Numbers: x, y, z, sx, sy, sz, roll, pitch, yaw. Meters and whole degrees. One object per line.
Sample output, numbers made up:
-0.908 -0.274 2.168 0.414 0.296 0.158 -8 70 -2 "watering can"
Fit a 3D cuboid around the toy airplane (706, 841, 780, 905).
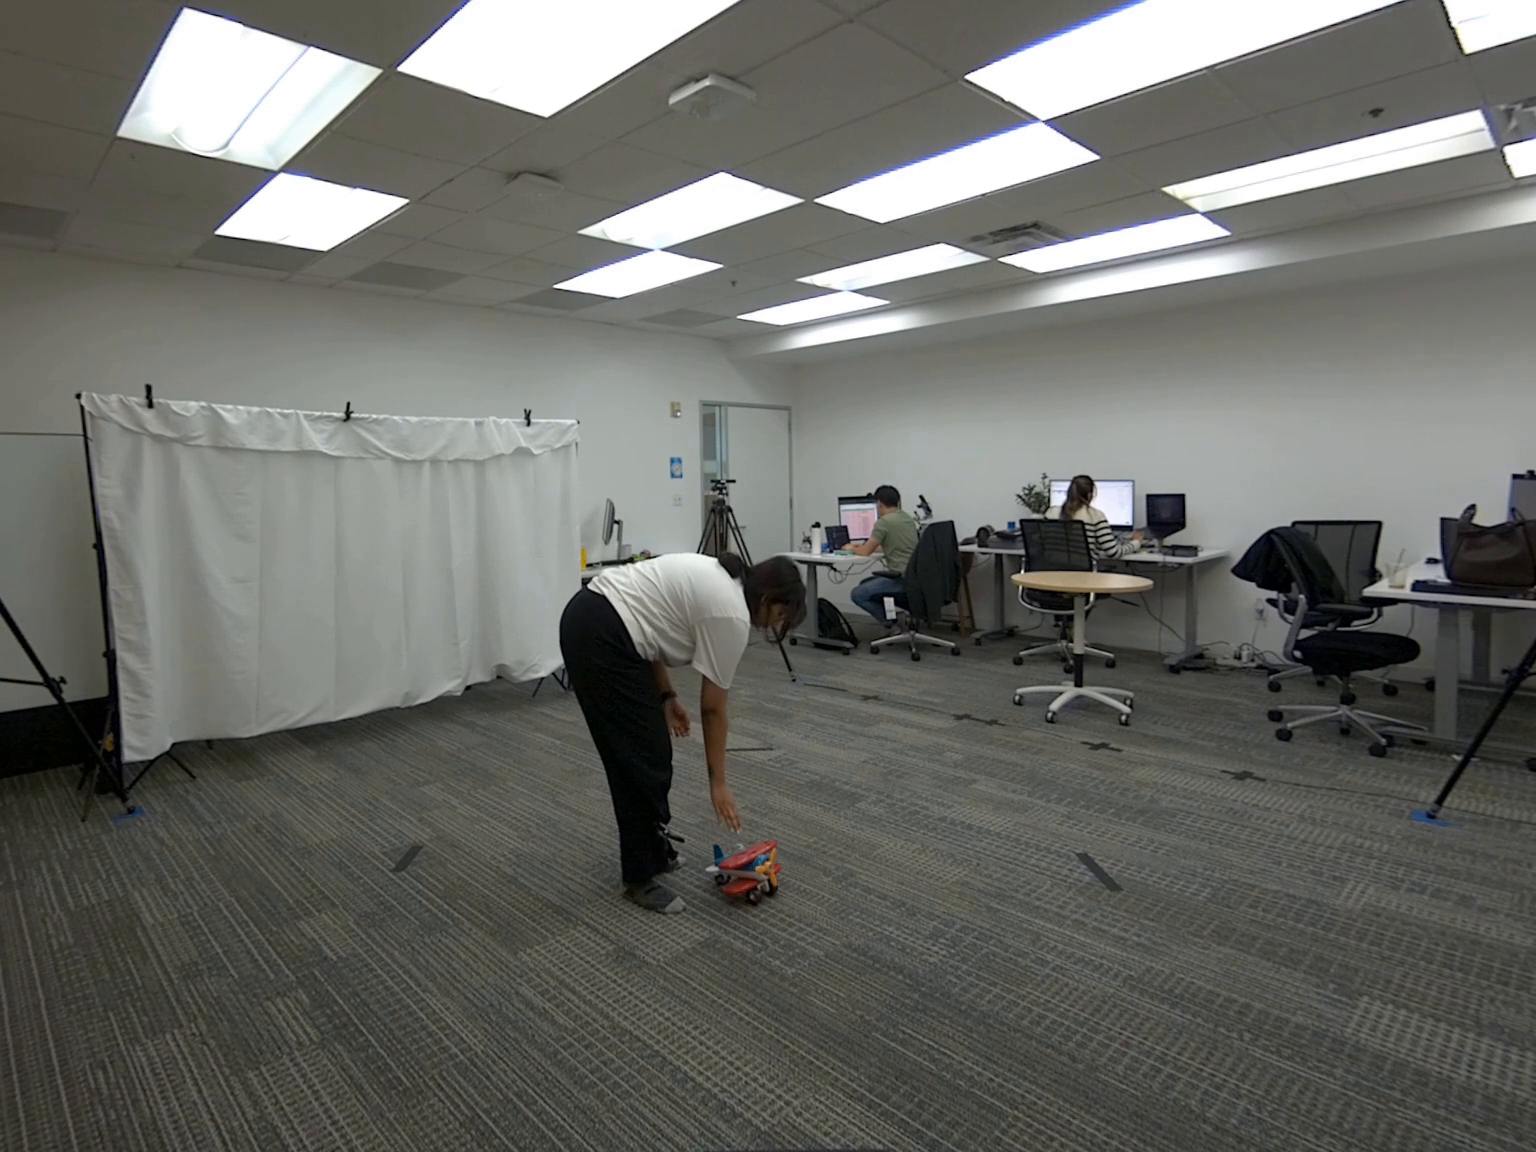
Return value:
-0.091 0.998 2.882 0.263 0.155 0.249 2 7 13 "toy airplane"
